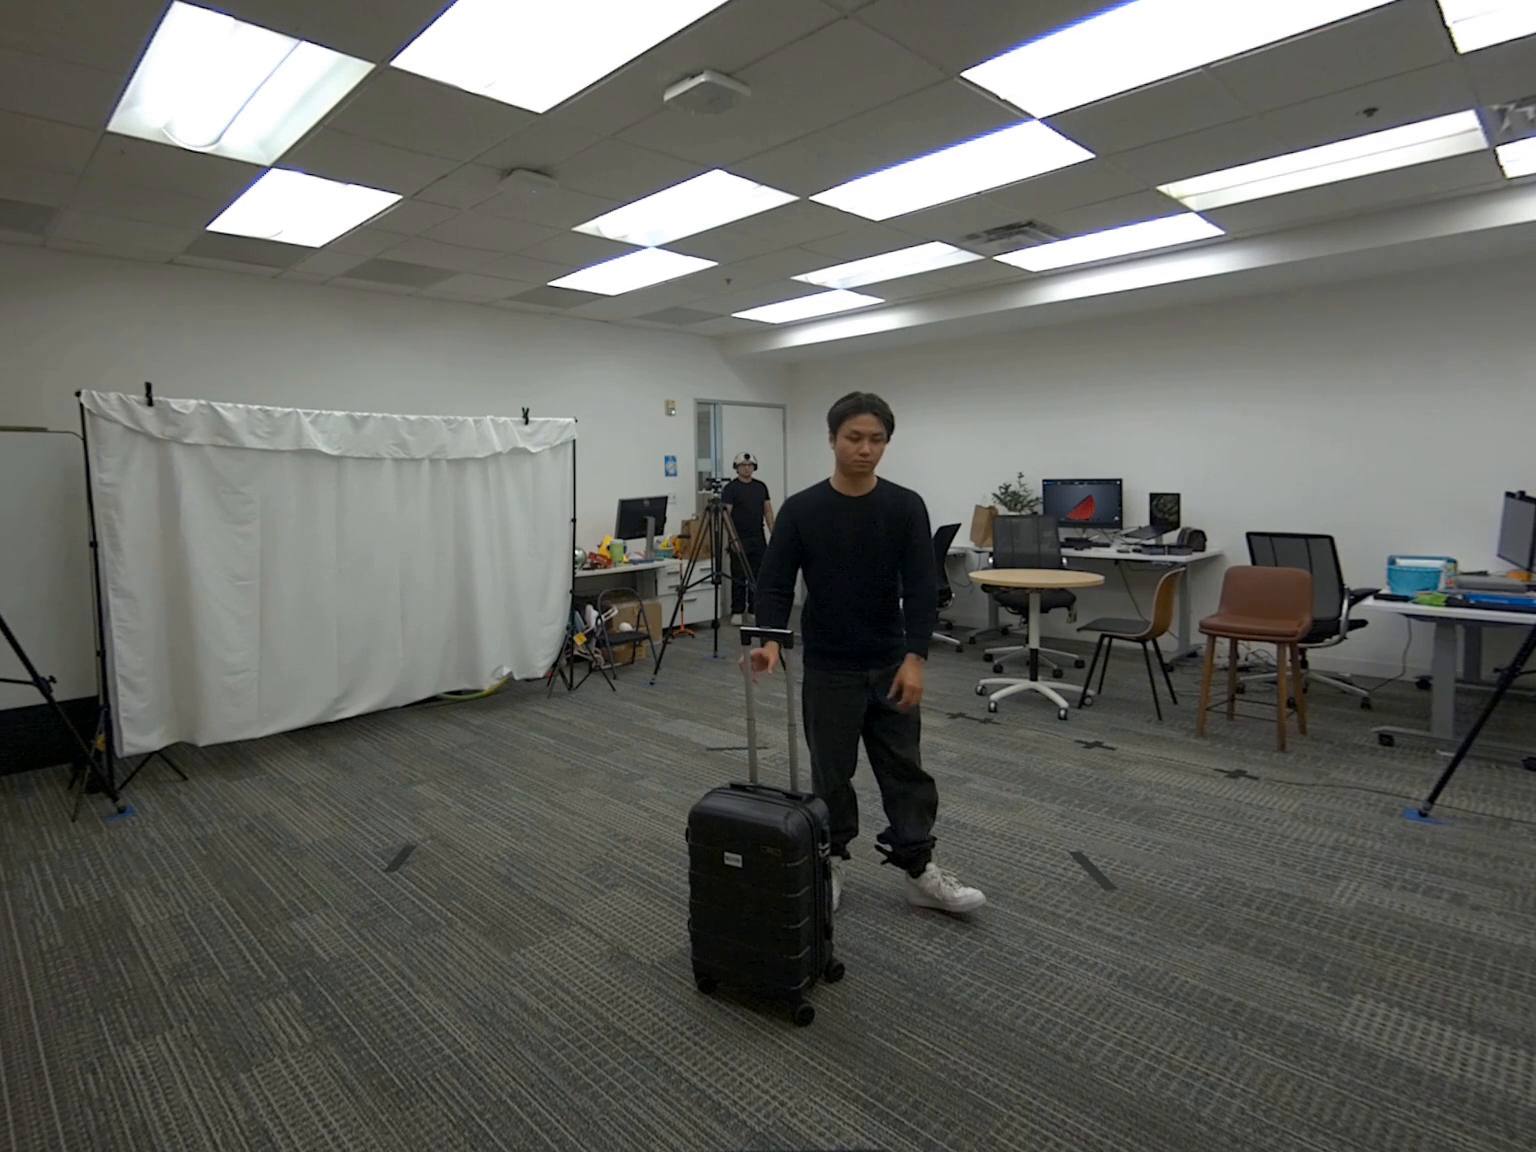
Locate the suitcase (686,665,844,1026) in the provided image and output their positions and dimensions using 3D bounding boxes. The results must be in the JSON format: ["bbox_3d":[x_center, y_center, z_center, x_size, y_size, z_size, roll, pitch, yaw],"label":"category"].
[{"bbox_3d":[-0.026,0.658,2.308,0.393,0.974,0.252,0,6,29],"label":"suitcase"}]
